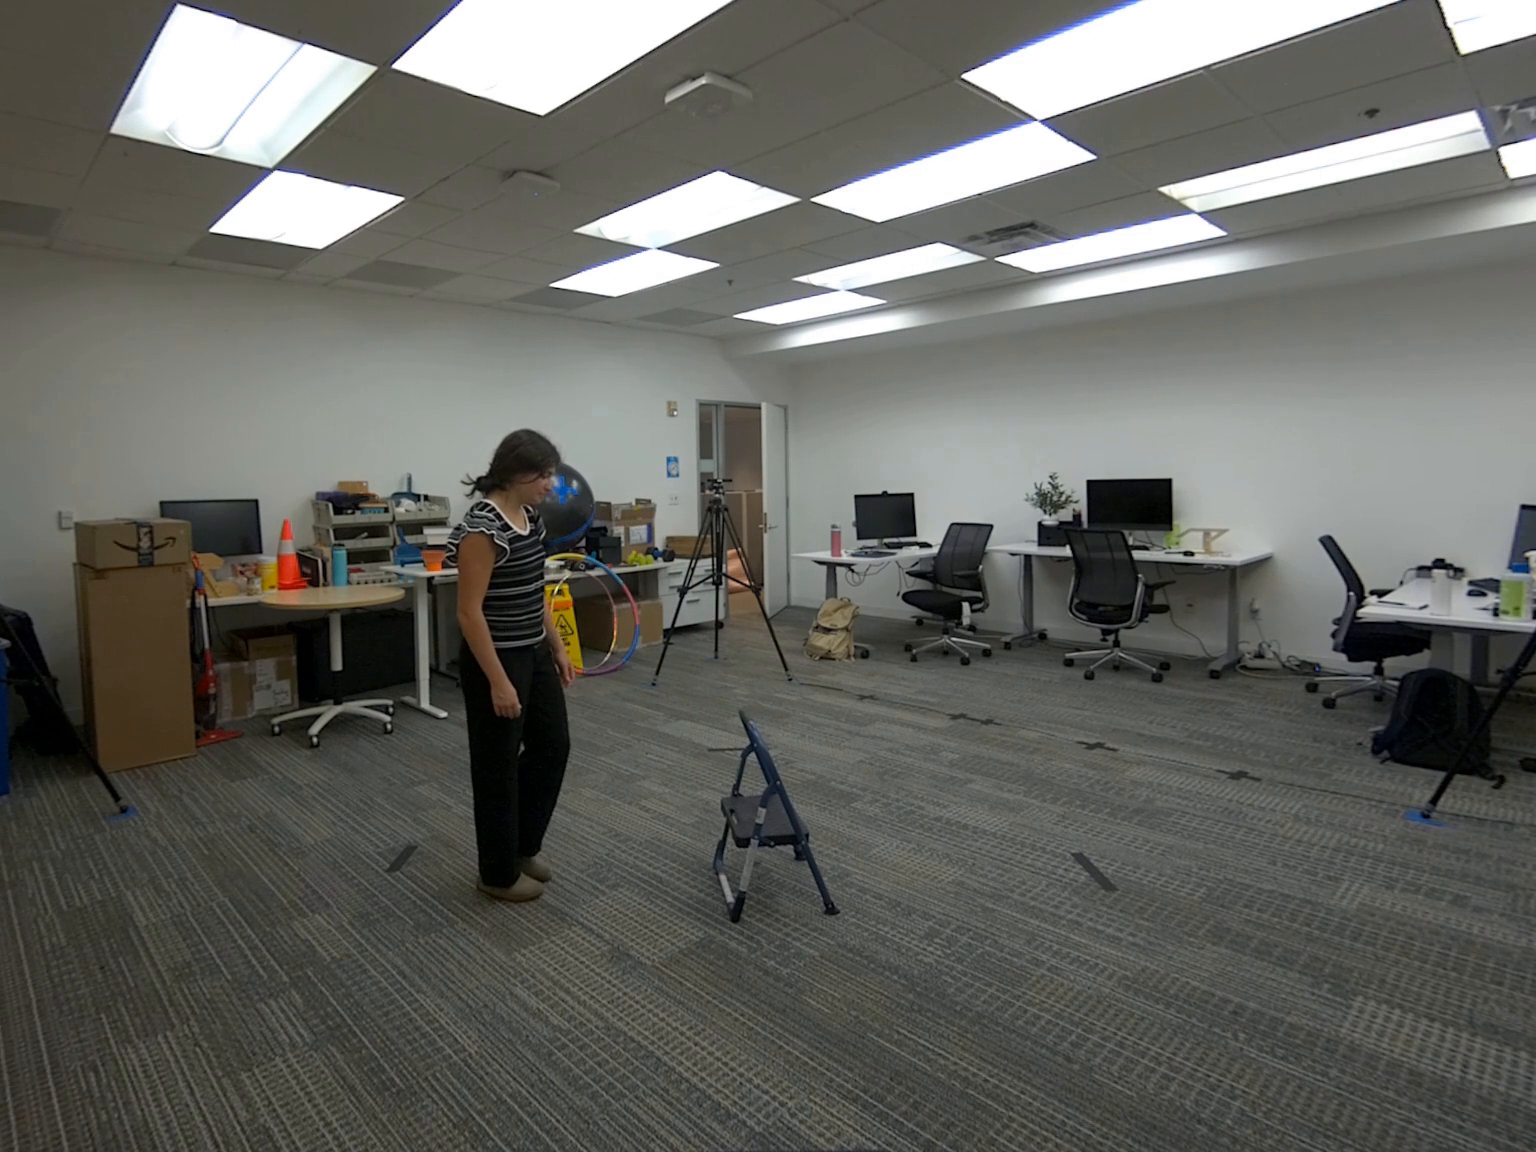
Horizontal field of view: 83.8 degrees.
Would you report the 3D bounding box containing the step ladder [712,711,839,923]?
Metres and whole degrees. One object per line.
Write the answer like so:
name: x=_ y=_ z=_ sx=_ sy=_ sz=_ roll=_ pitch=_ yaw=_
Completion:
step ladder: x=0.003 y=0.766 z=2.899 sx=0.346 sy=0.604 sz=0.437 roll=-2 pitch=5 yaw=-11
